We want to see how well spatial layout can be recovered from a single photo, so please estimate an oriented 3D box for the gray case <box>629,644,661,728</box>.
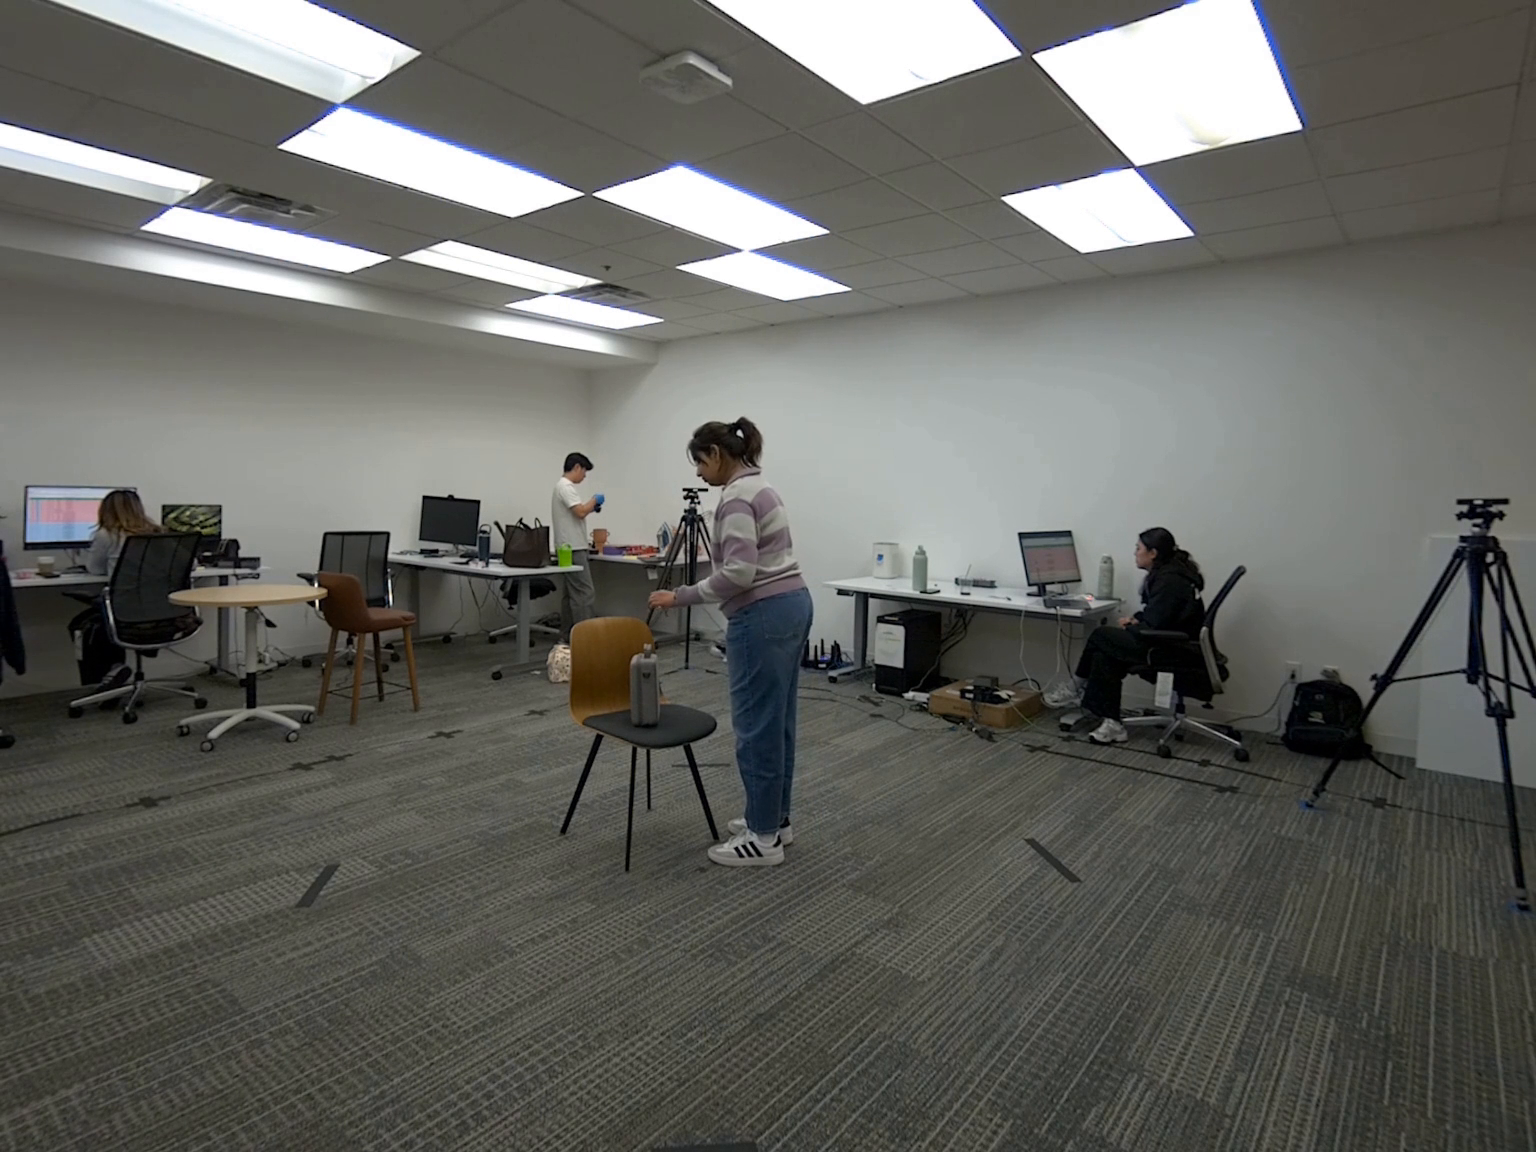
[{"bbox_3d":[-0.503,0.429,3.350,0.103,0.260,0.259,-1,2,-8],"label":"gray case"}]
